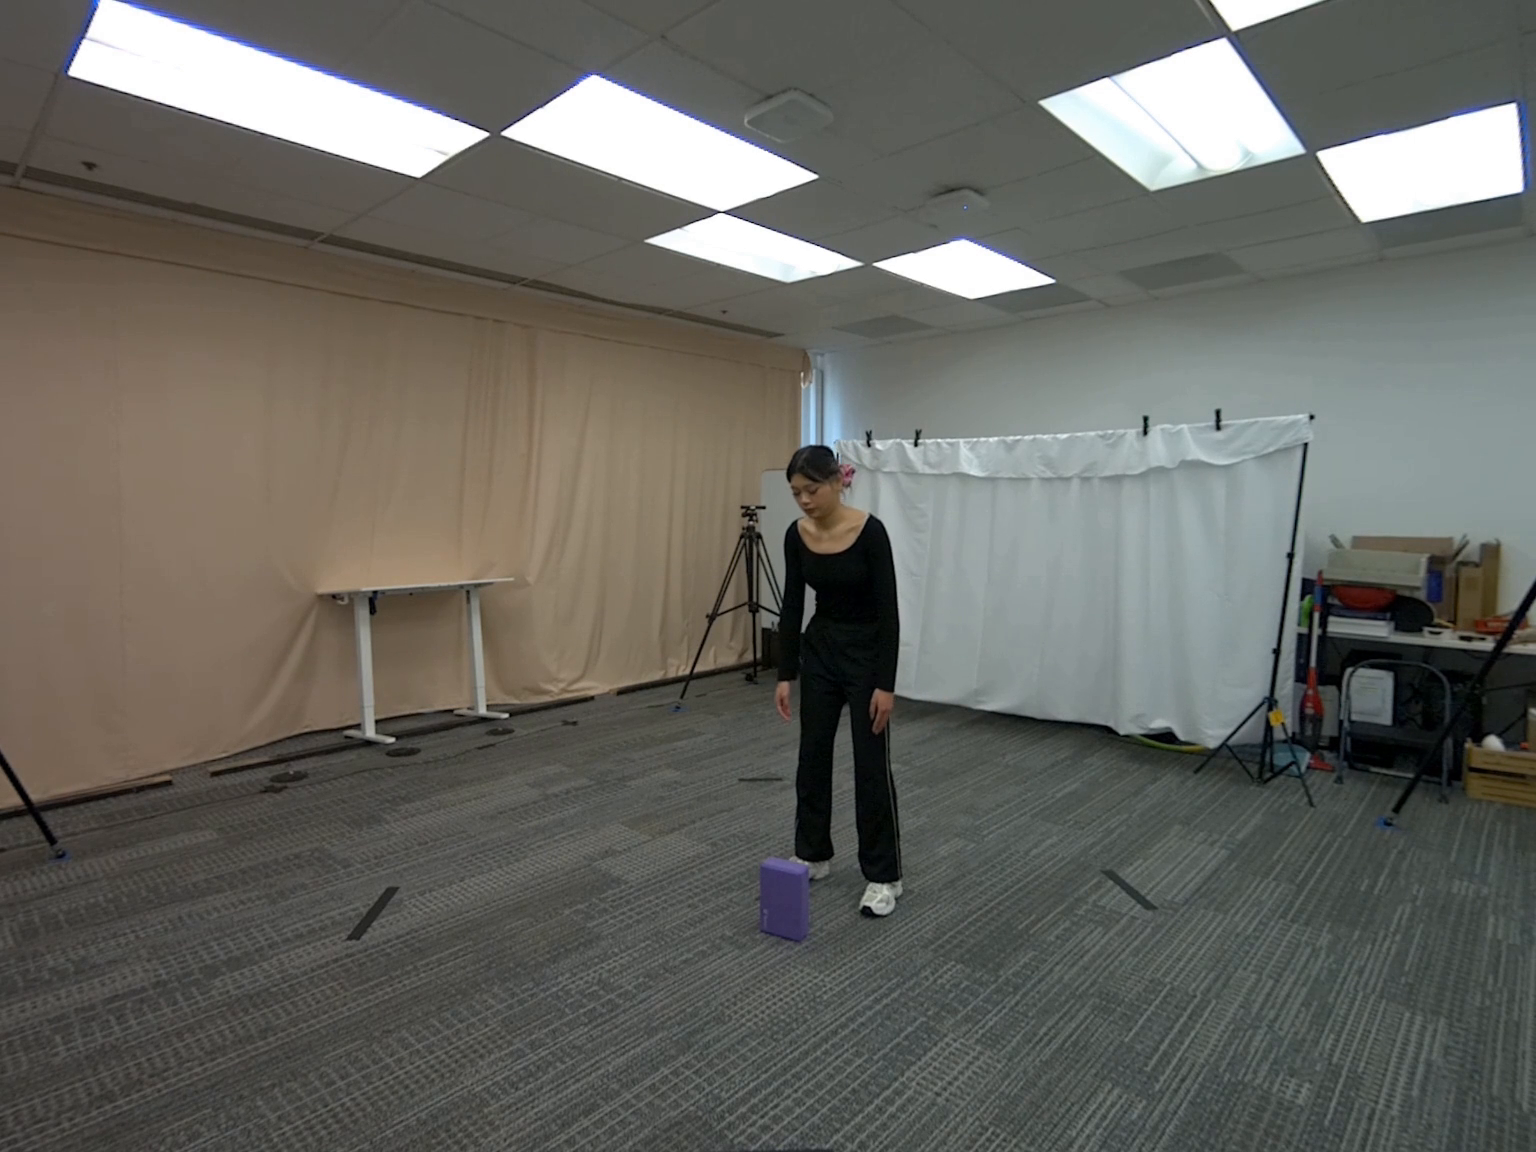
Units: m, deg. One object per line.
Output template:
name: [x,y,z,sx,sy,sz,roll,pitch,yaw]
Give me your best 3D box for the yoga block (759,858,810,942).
yoga block: [0.055,1.048,2.738,0.153,0.229,0.074,2,4,27]
